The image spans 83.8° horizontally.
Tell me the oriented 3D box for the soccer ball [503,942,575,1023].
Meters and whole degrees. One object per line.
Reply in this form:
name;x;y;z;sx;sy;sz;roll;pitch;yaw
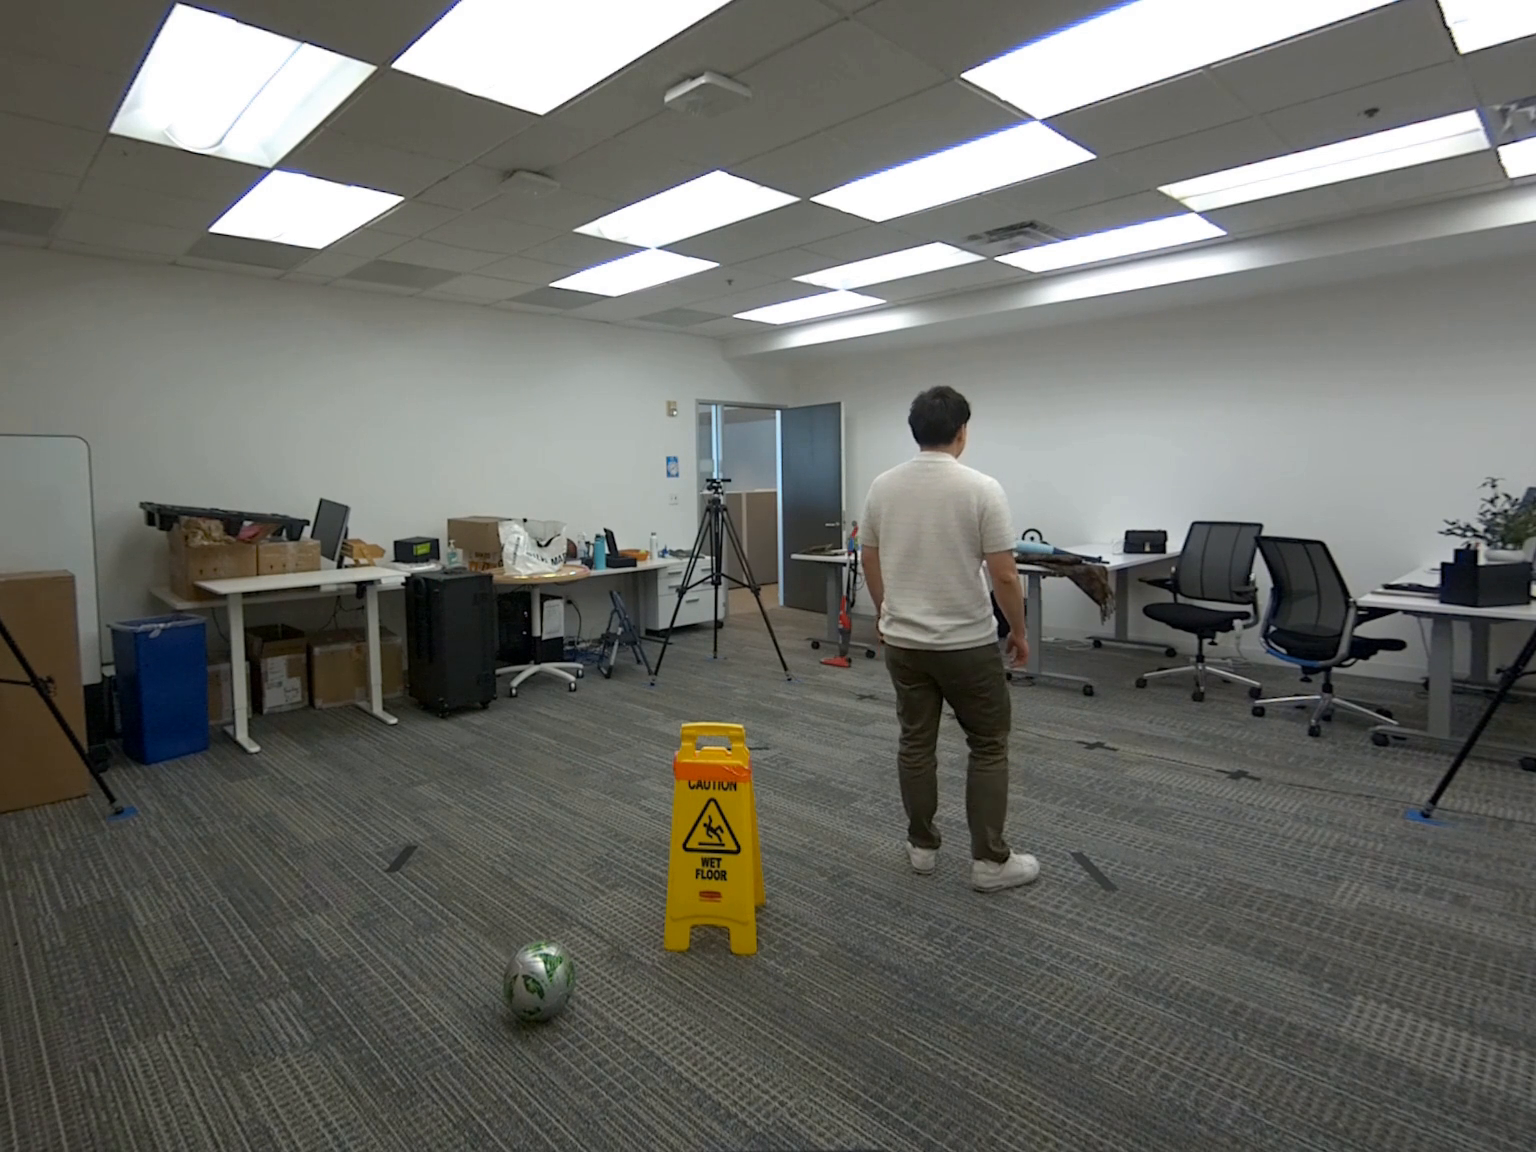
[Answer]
soccer ball;-0.590;1.070;2.251;0.187;0.187;0.188;-1;5;-2
